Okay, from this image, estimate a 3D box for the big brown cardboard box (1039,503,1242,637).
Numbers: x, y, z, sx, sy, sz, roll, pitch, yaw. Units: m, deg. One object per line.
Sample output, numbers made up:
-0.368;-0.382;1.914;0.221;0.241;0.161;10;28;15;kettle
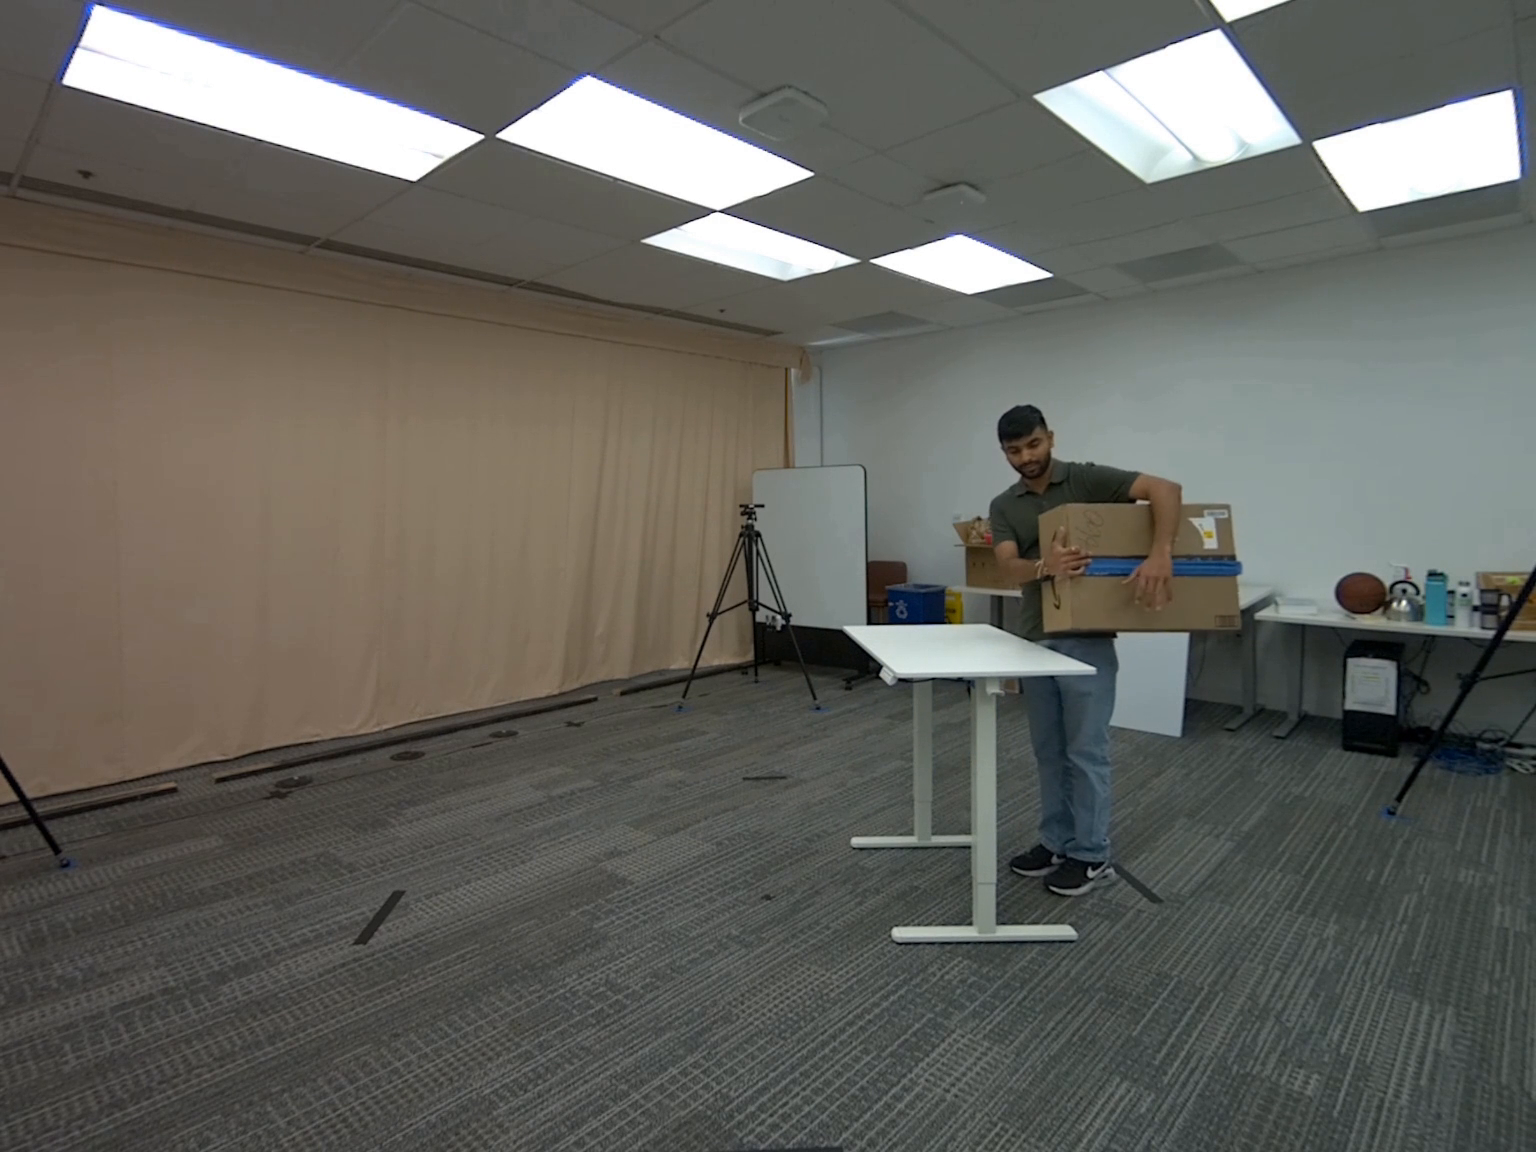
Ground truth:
1.253;-0.021;2.863;0.587;0.420;0.232;0;-9;-3;big brown cardboard box
